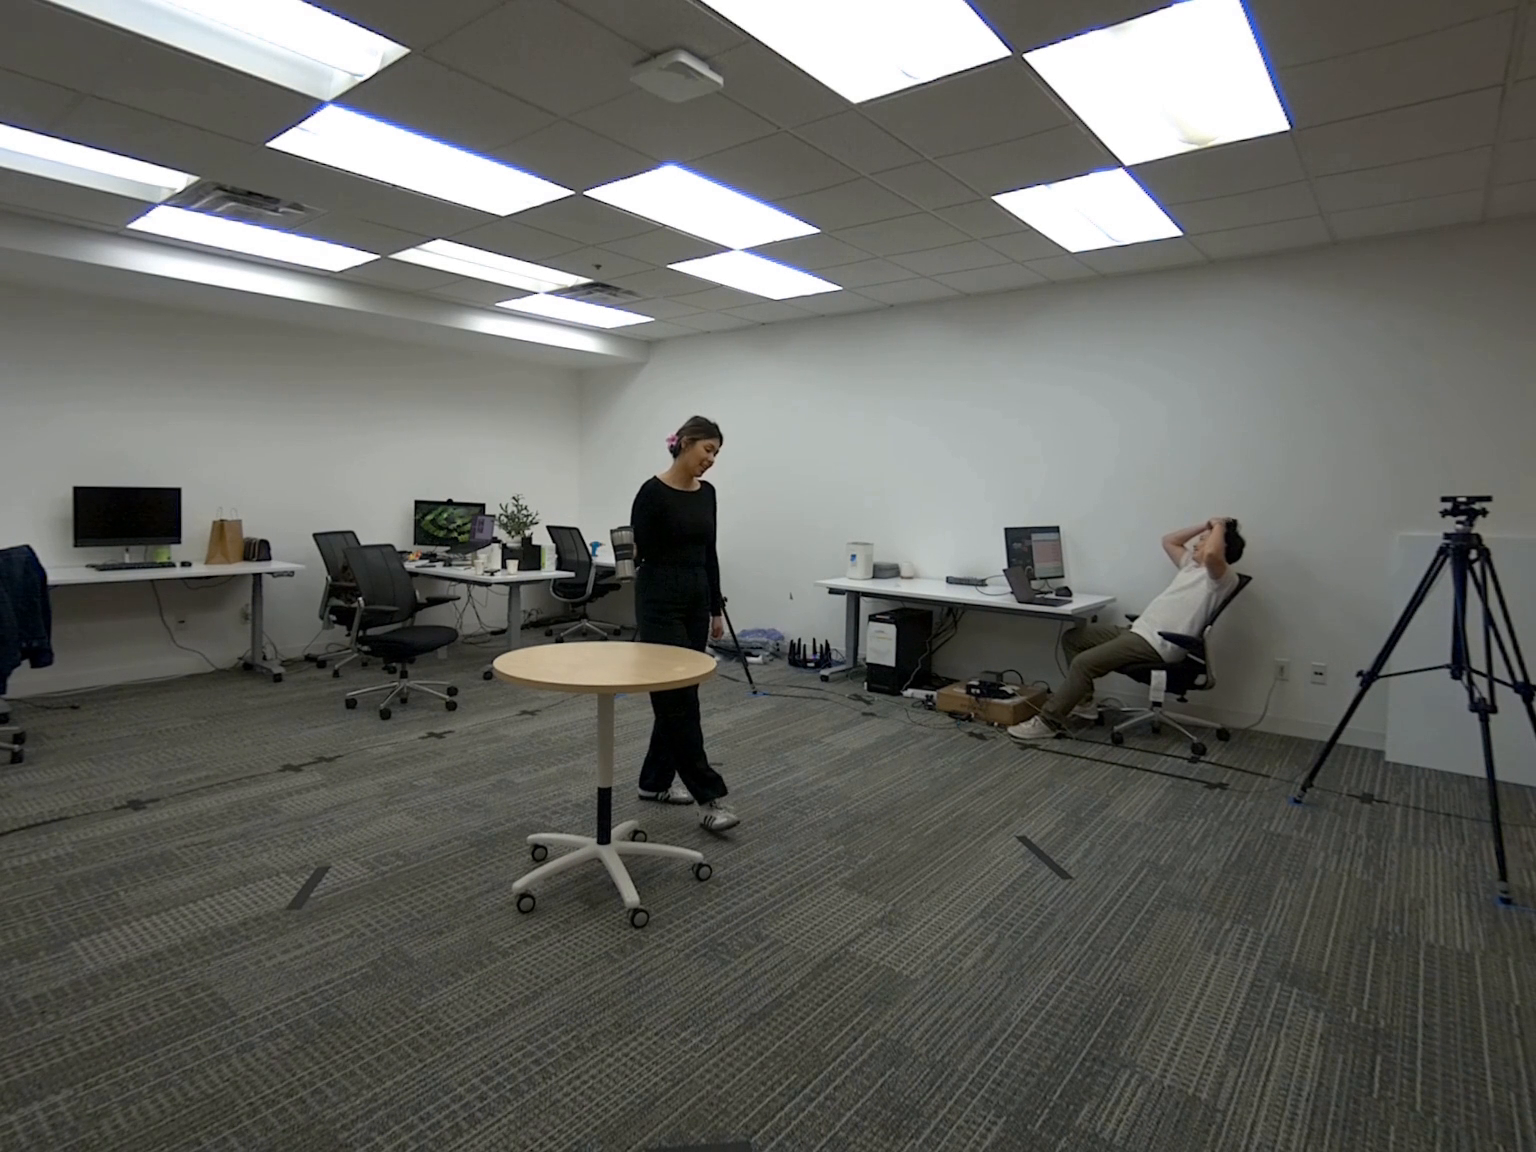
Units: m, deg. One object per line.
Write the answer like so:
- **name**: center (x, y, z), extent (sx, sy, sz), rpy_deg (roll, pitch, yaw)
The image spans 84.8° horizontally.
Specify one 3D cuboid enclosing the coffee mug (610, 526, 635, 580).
- **coffee mug**: center (-0.533, -0.082, 3.140), extent (0.089, 0.205, 0.118), rpy_deg (-15, -10, 25)
